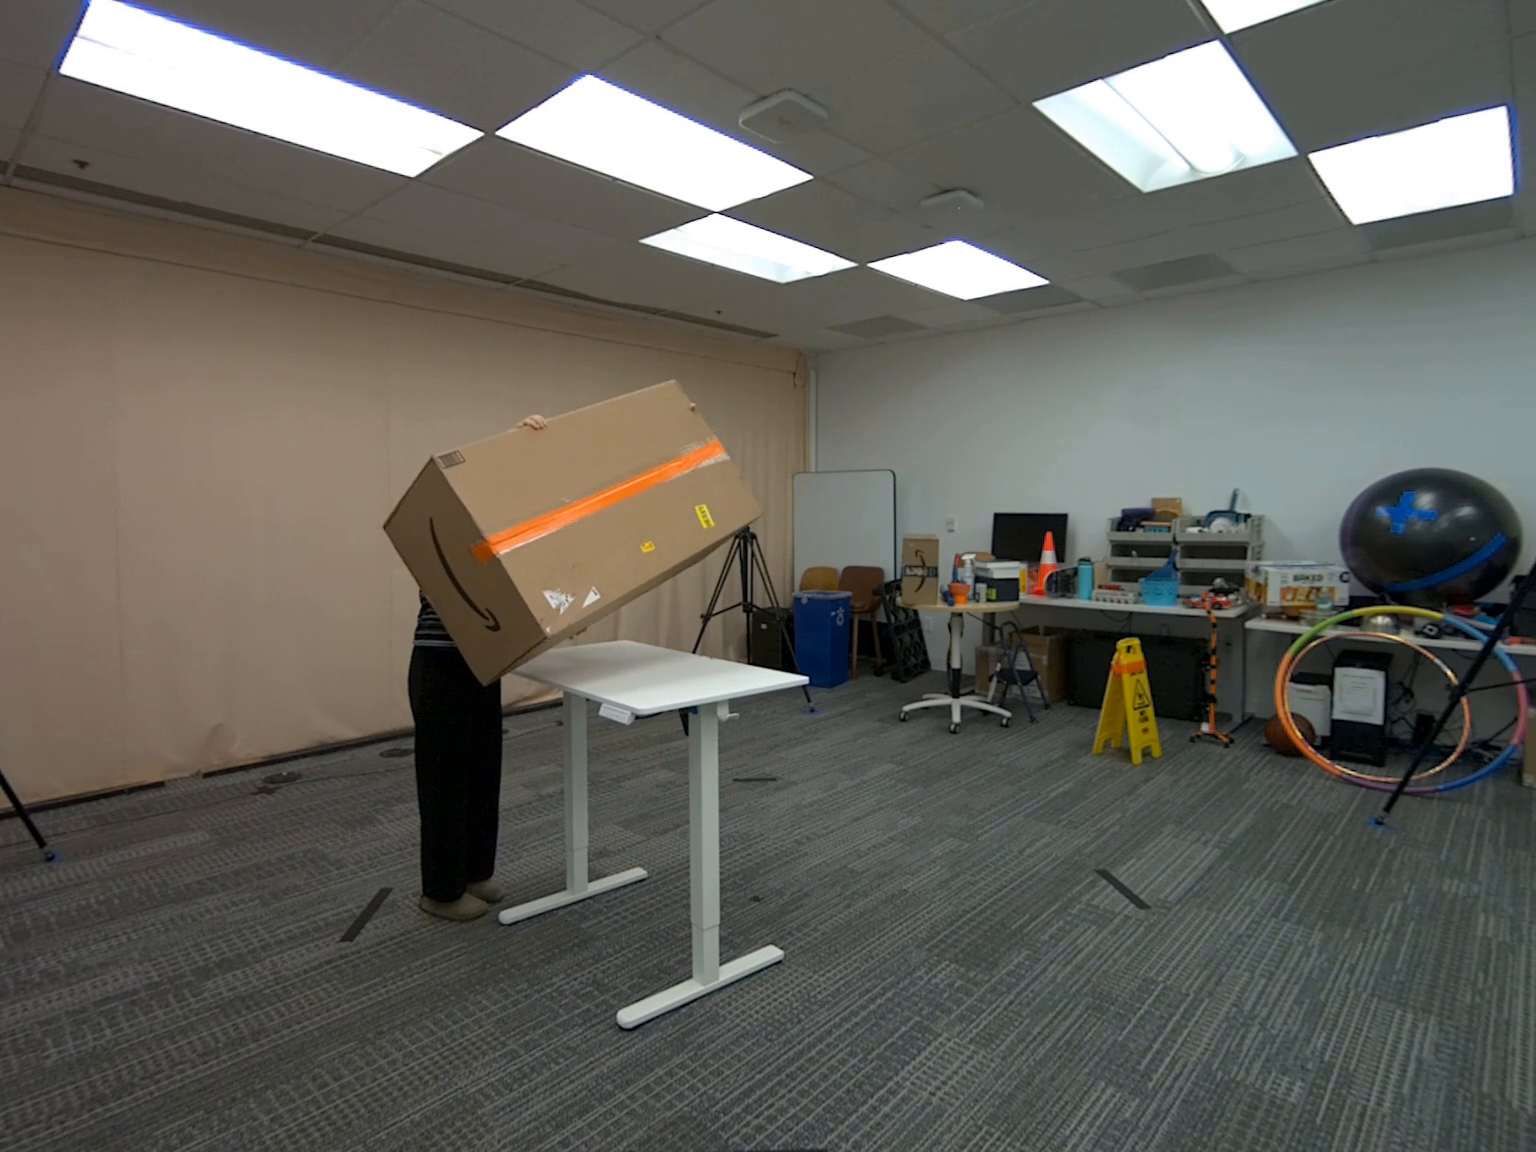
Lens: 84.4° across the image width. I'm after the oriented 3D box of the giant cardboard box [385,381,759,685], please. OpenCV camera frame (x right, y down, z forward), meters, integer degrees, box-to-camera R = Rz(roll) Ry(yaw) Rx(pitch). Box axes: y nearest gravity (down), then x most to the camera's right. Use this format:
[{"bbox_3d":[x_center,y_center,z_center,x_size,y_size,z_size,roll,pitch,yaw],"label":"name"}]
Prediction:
[{"bbox_3d":[-0.573,-0.184,2.712,0.433,0.579,1.008,-34,-1,42],"label":"giant cardboard box"}]
